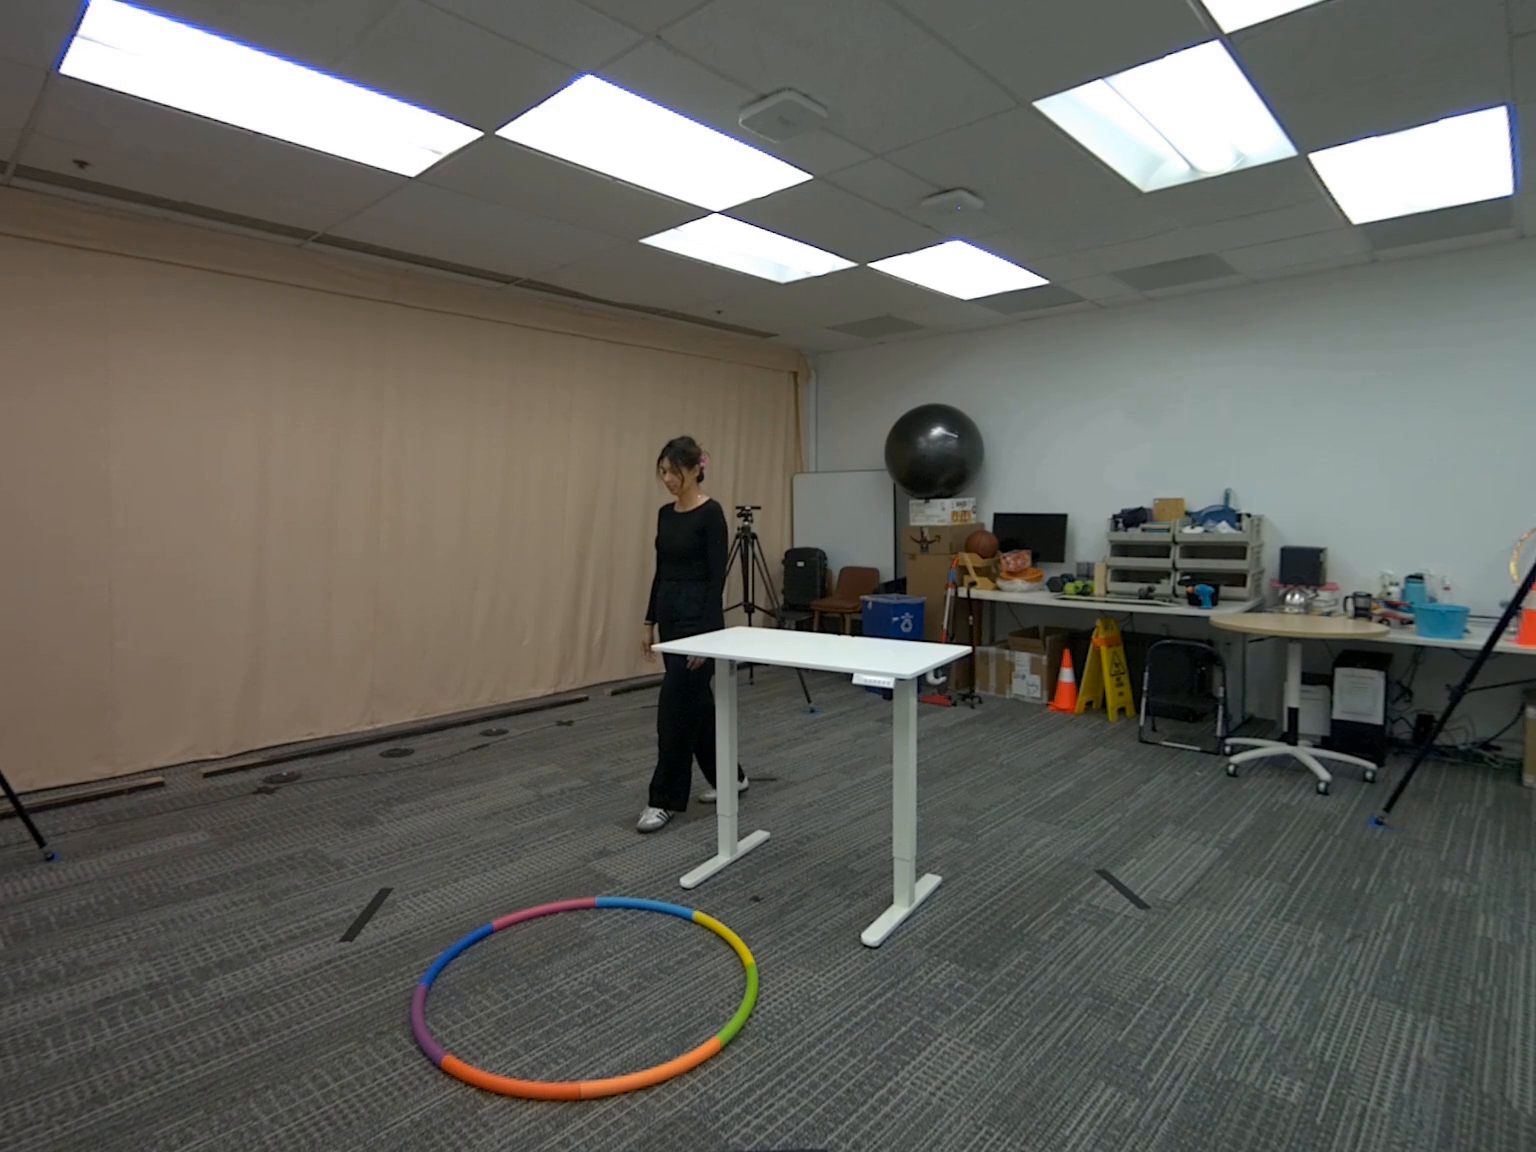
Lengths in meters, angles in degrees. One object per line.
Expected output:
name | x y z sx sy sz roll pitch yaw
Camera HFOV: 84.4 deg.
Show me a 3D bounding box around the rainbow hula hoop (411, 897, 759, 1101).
rainbow hula hoop | -0.516 1.165 2.451 0.978 0.035 0.982 0 4 -2
